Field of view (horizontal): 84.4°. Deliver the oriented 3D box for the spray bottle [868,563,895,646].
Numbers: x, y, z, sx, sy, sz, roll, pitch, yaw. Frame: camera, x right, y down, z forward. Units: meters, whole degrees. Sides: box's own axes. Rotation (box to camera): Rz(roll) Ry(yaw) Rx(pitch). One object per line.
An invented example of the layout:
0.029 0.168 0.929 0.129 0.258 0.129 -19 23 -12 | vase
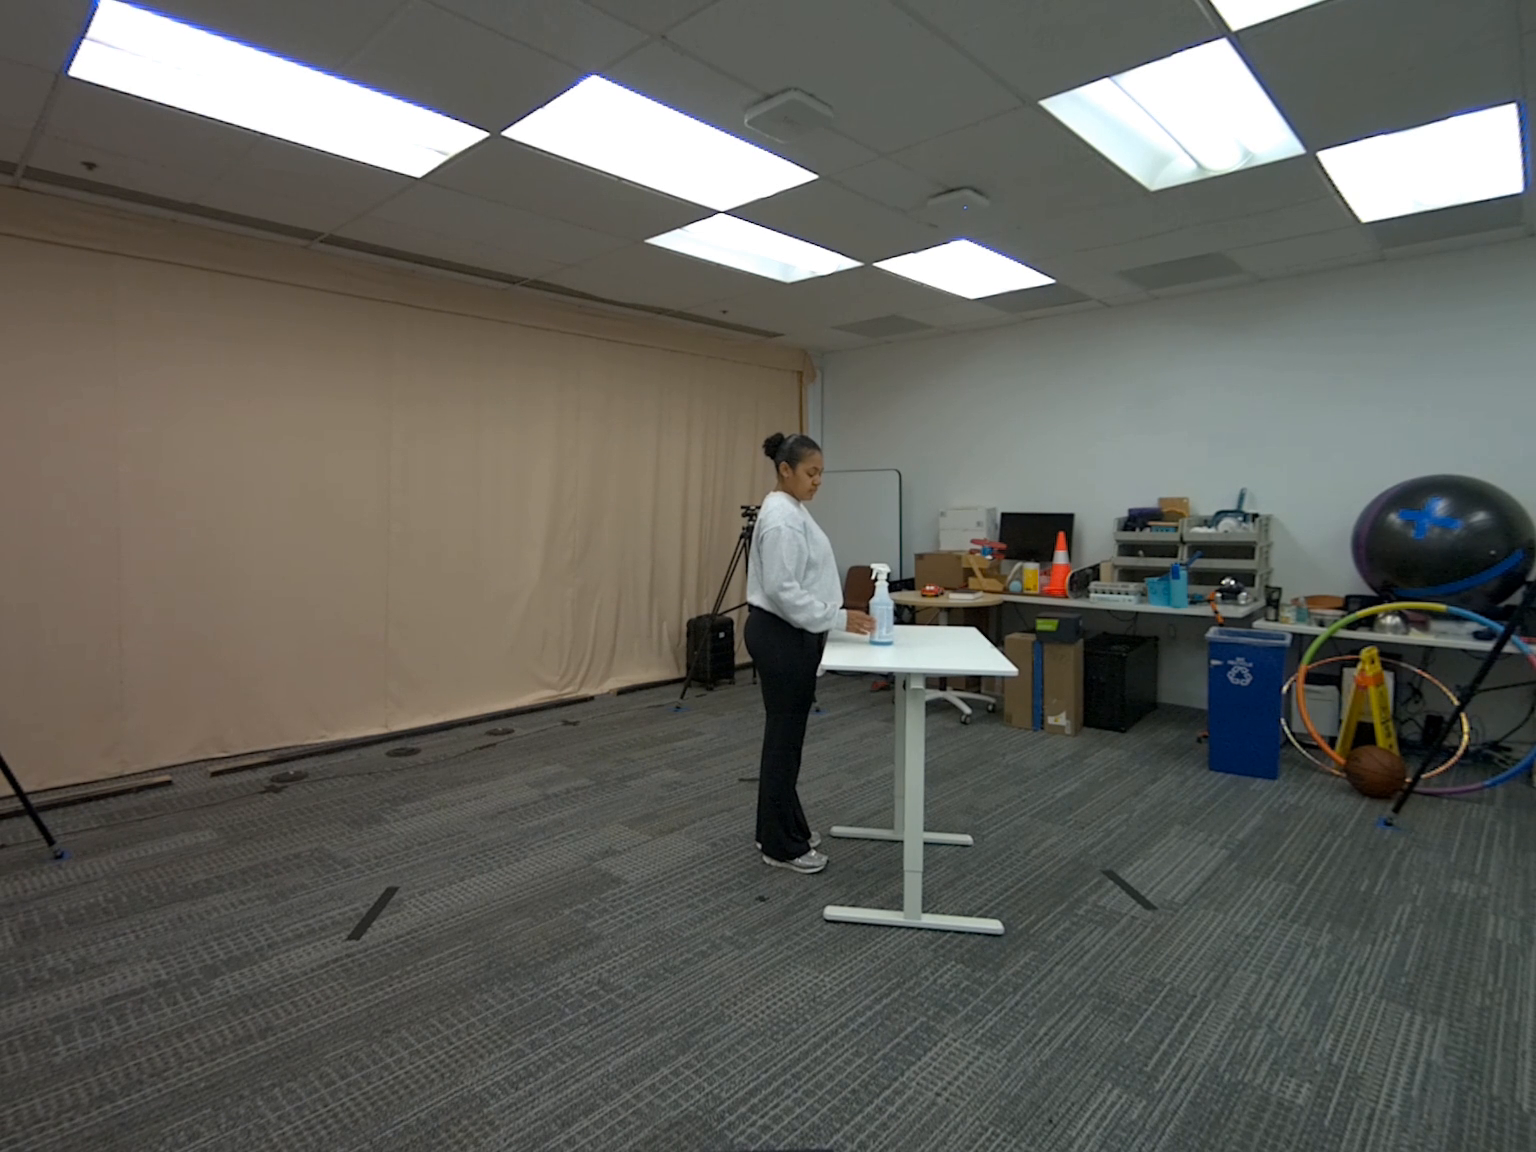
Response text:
0.424 0.104 3.081 0.089 0.297 0.088 0 2 -9 | spray bottle
